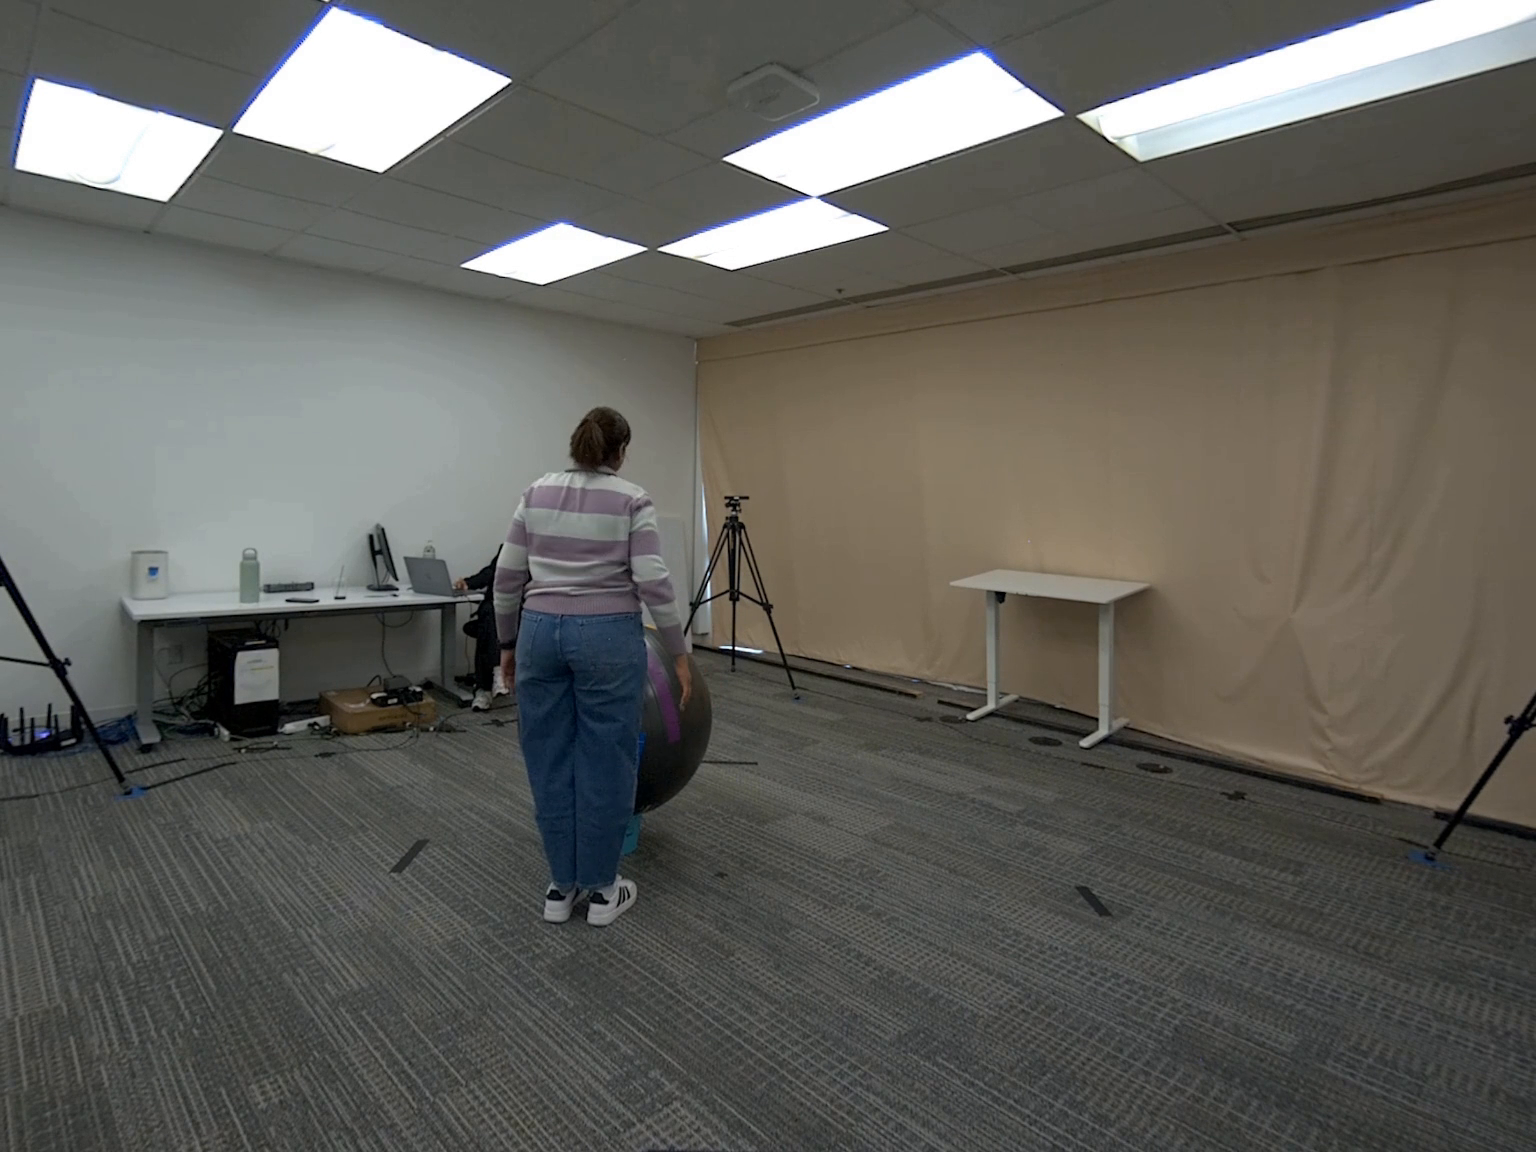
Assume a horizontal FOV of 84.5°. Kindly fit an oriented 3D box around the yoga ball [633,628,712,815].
[{"bbox_3d":[-0.602,0.564,3.319,0.757,0.756,0.761,1,4,-1],"label":"yoga ball"}]
